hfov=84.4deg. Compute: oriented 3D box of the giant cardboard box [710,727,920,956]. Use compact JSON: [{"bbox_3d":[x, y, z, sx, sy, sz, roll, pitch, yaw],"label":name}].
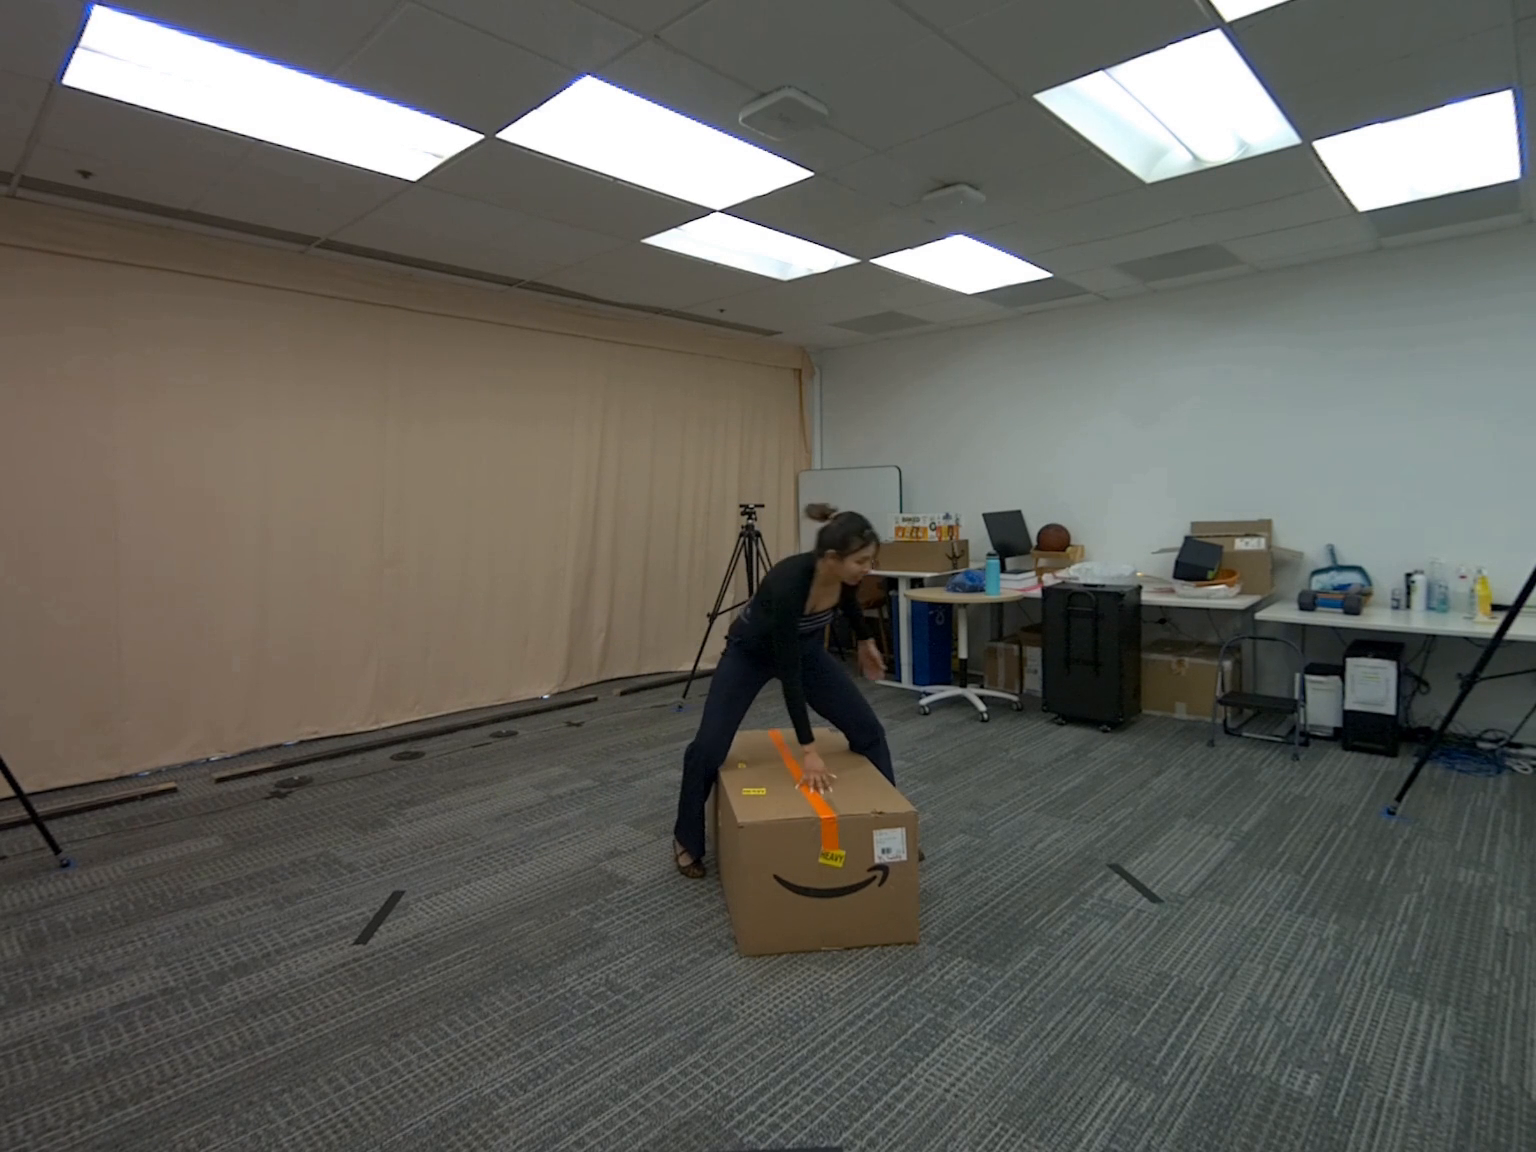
[{"bbox_3d":[0.117,0.909,3.114,0.573,0.425,1.037,-2,5,-9],"label":"giant cardboard box"}]
